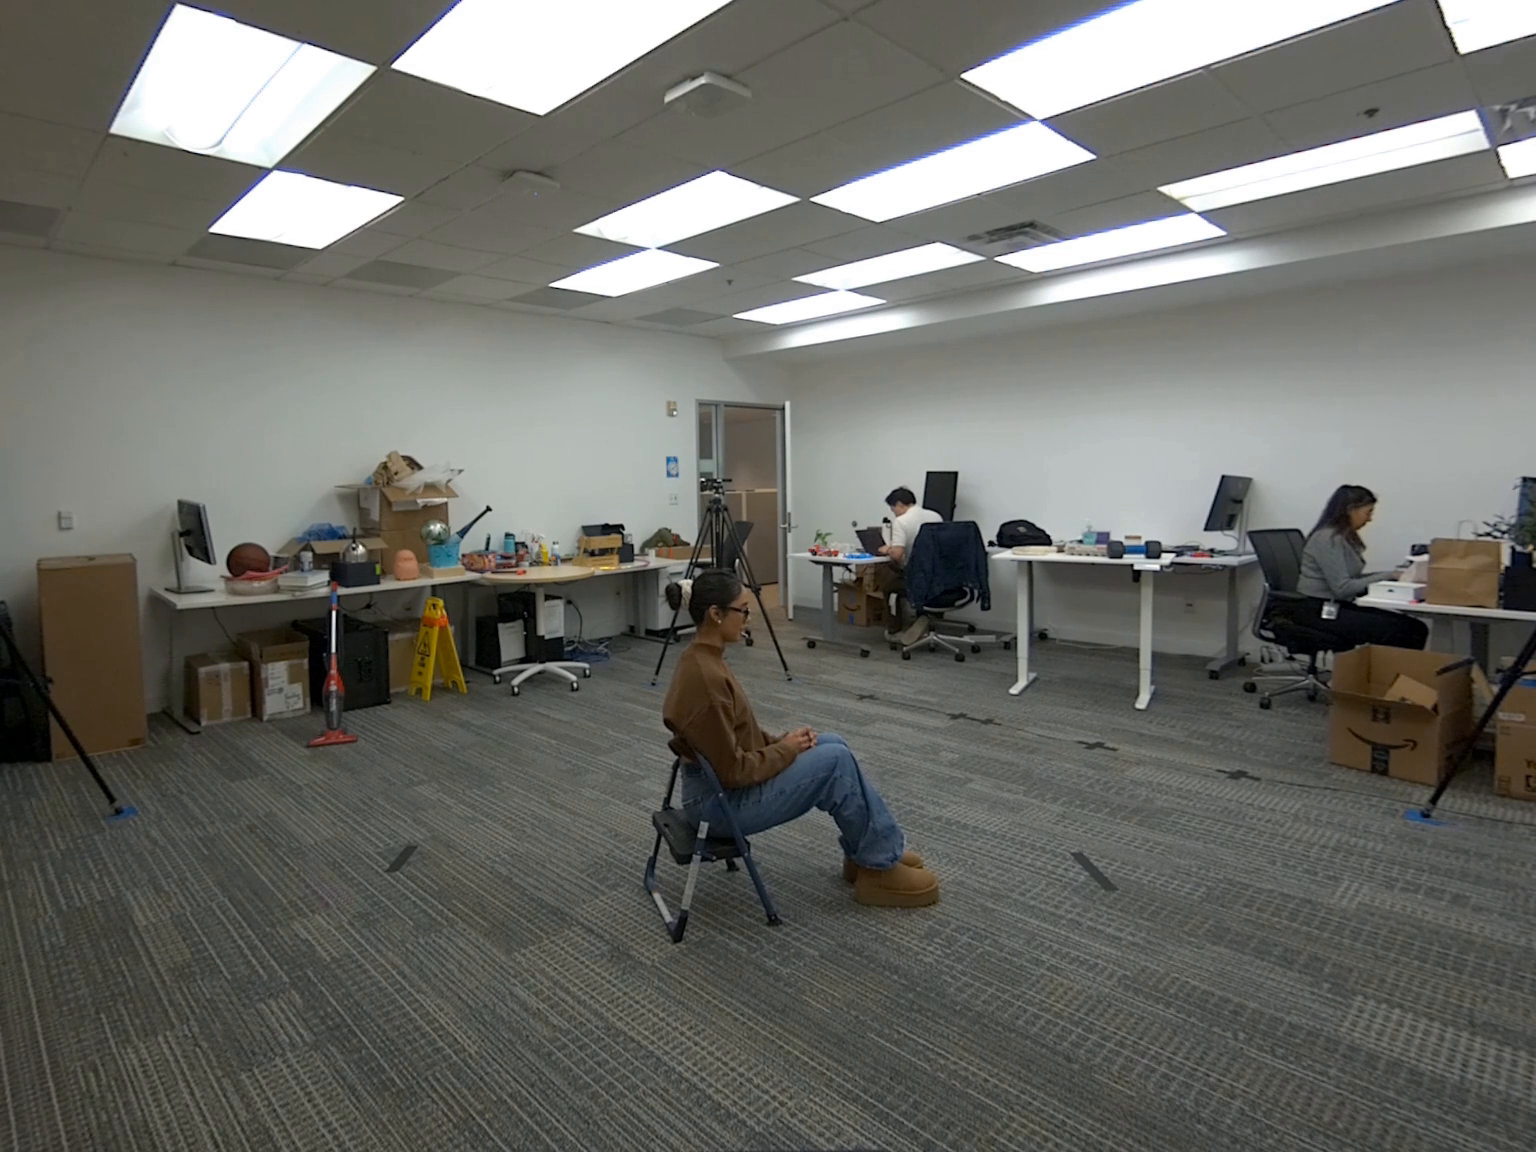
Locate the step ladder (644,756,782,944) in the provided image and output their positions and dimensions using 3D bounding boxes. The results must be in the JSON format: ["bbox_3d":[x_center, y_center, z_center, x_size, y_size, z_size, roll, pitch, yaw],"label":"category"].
[{"bbox_3d":[-0.199,0.786,2.805,0.343,0.604,0.440,-3,4,-21],"label":"step ladder"}]
